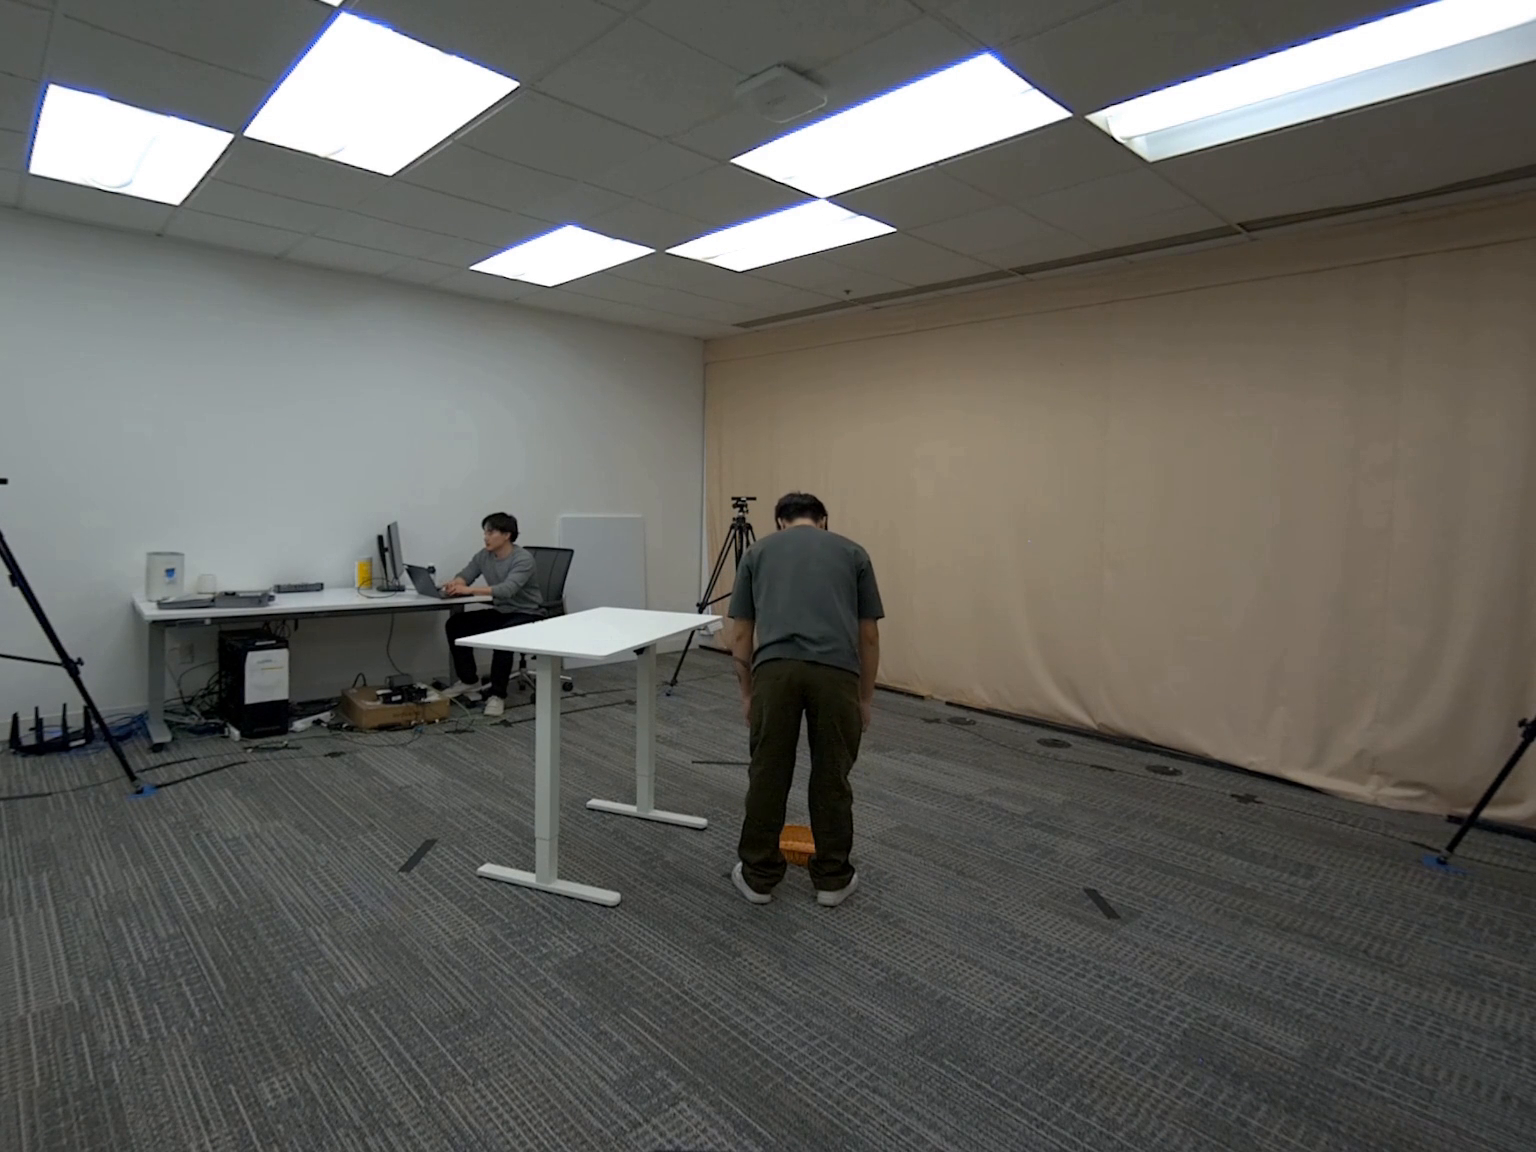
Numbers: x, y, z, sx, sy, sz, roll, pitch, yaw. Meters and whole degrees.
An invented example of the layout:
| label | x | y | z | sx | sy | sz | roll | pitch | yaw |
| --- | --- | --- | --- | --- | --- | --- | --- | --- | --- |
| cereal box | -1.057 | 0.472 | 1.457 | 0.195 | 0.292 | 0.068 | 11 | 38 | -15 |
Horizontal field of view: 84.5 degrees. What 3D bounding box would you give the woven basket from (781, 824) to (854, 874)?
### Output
| label | x | y | z | sx | sy | sz | roll | pitch | yaw |
| --- | --- | --- | --- | --- | --- | --- | --- | --- | --- |
| woven basket | 0.132 | 1.061 | 3.302 | 0.356 | 0.073 | 0.249 | 3 | 5 | 19 |
